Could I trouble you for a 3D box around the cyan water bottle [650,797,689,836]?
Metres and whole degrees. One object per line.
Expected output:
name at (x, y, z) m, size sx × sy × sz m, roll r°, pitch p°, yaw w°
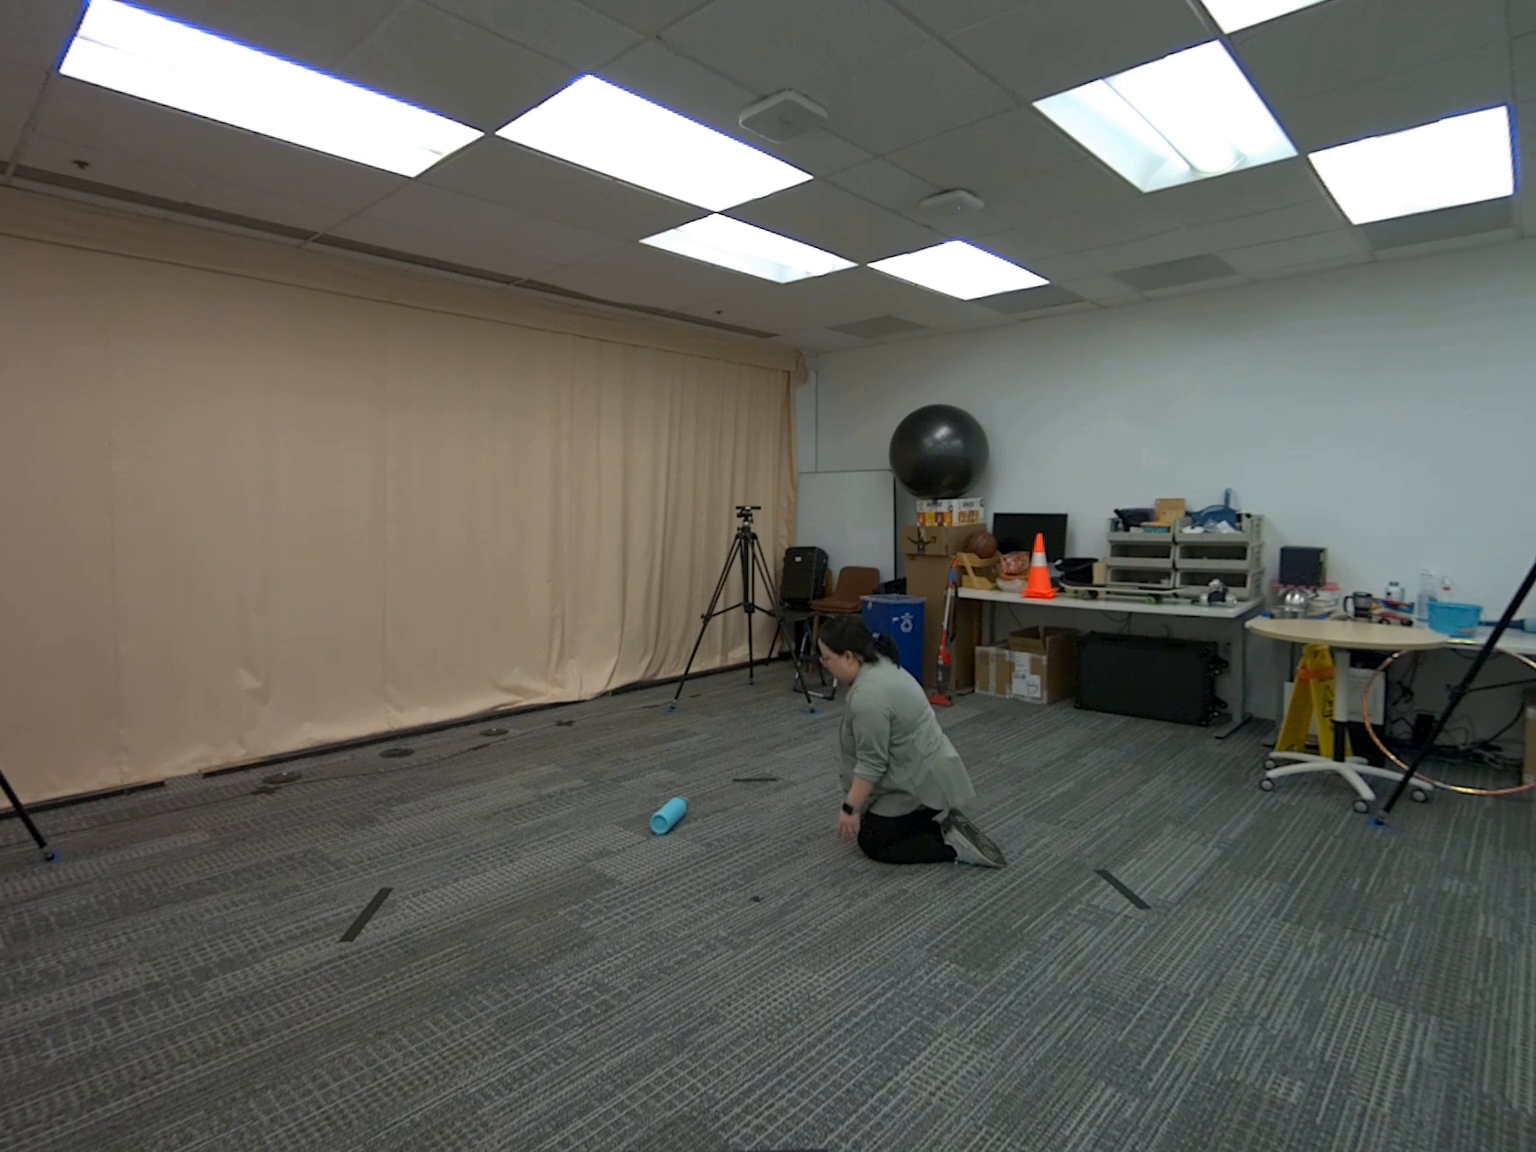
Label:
cyan water bottle at (-0.425, 1.044, 3.711) m, size 0.094 × 0.092 × 0.279 m, roll 1°, pitch 5°, yaw 14°
